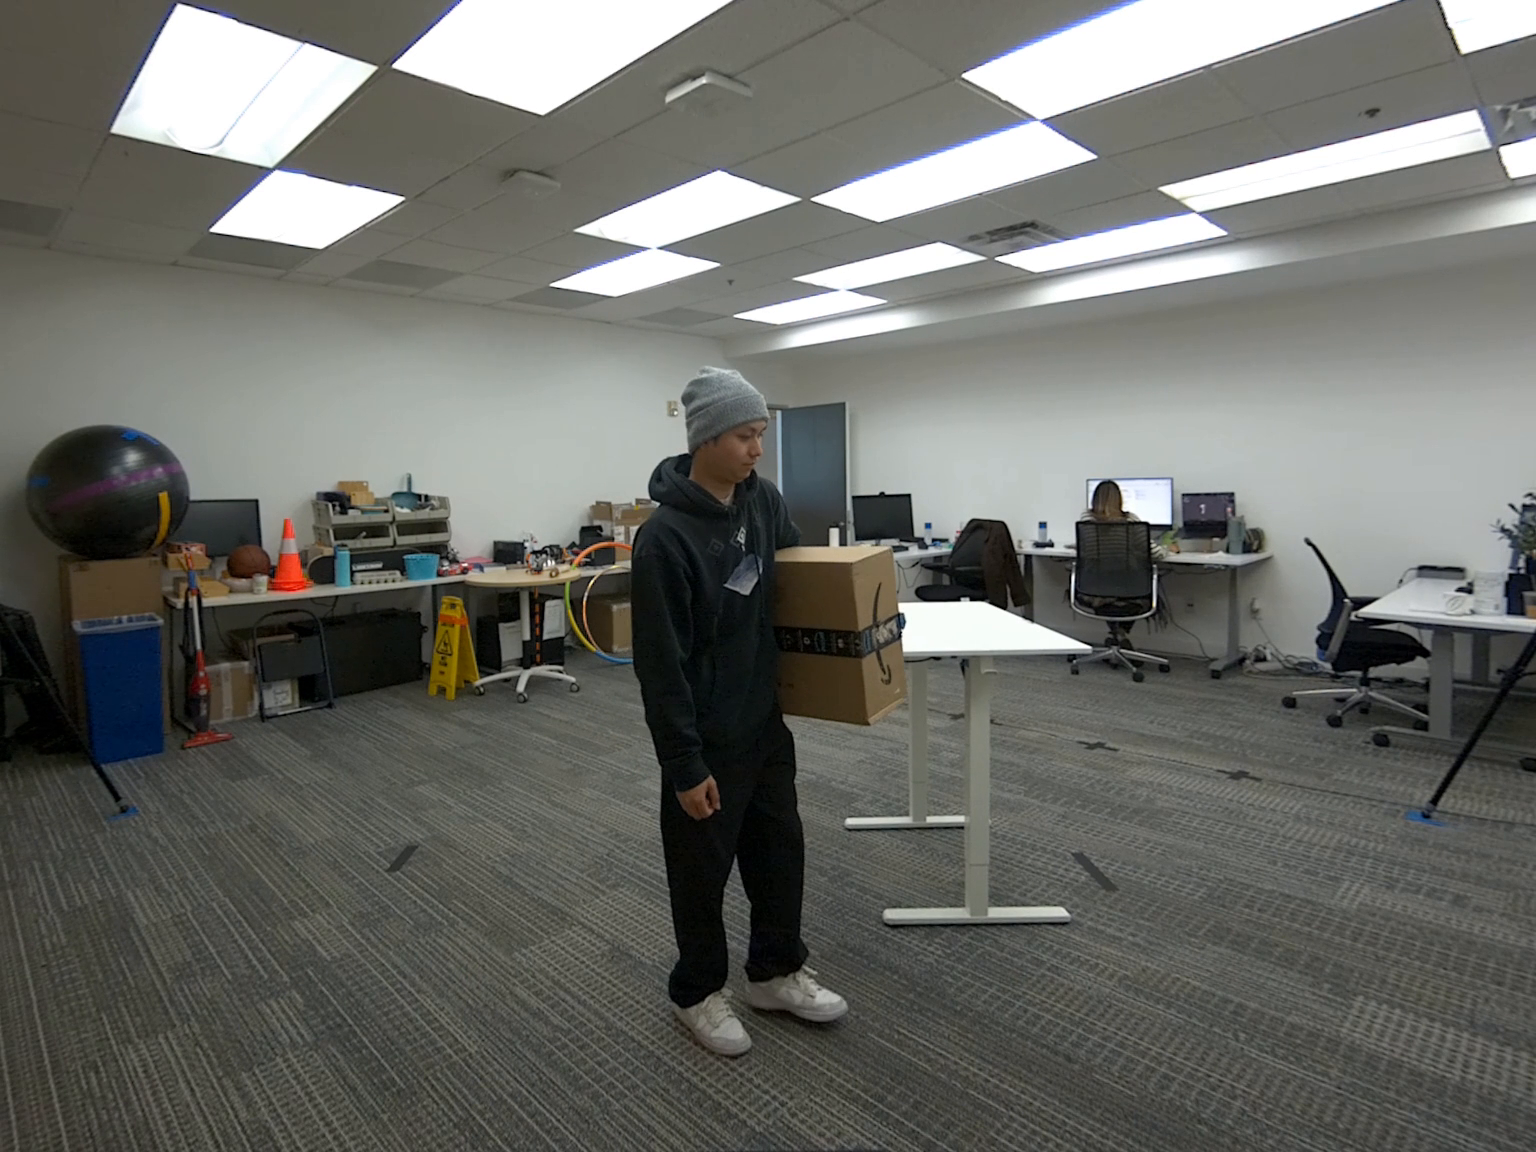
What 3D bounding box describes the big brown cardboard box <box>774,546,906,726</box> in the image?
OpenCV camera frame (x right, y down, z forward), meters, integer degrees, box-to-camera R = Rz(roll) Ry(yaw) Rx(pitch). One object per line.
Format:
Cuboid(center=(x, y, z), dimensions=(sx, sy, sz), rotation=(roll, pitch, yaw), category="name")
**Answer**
Cuboid(center=(0.068, 0.146, 2.333), dimensions=(0.606, 0.414, 0.228), rotation=(1, 10, 37), category="big brown cardboard box")
